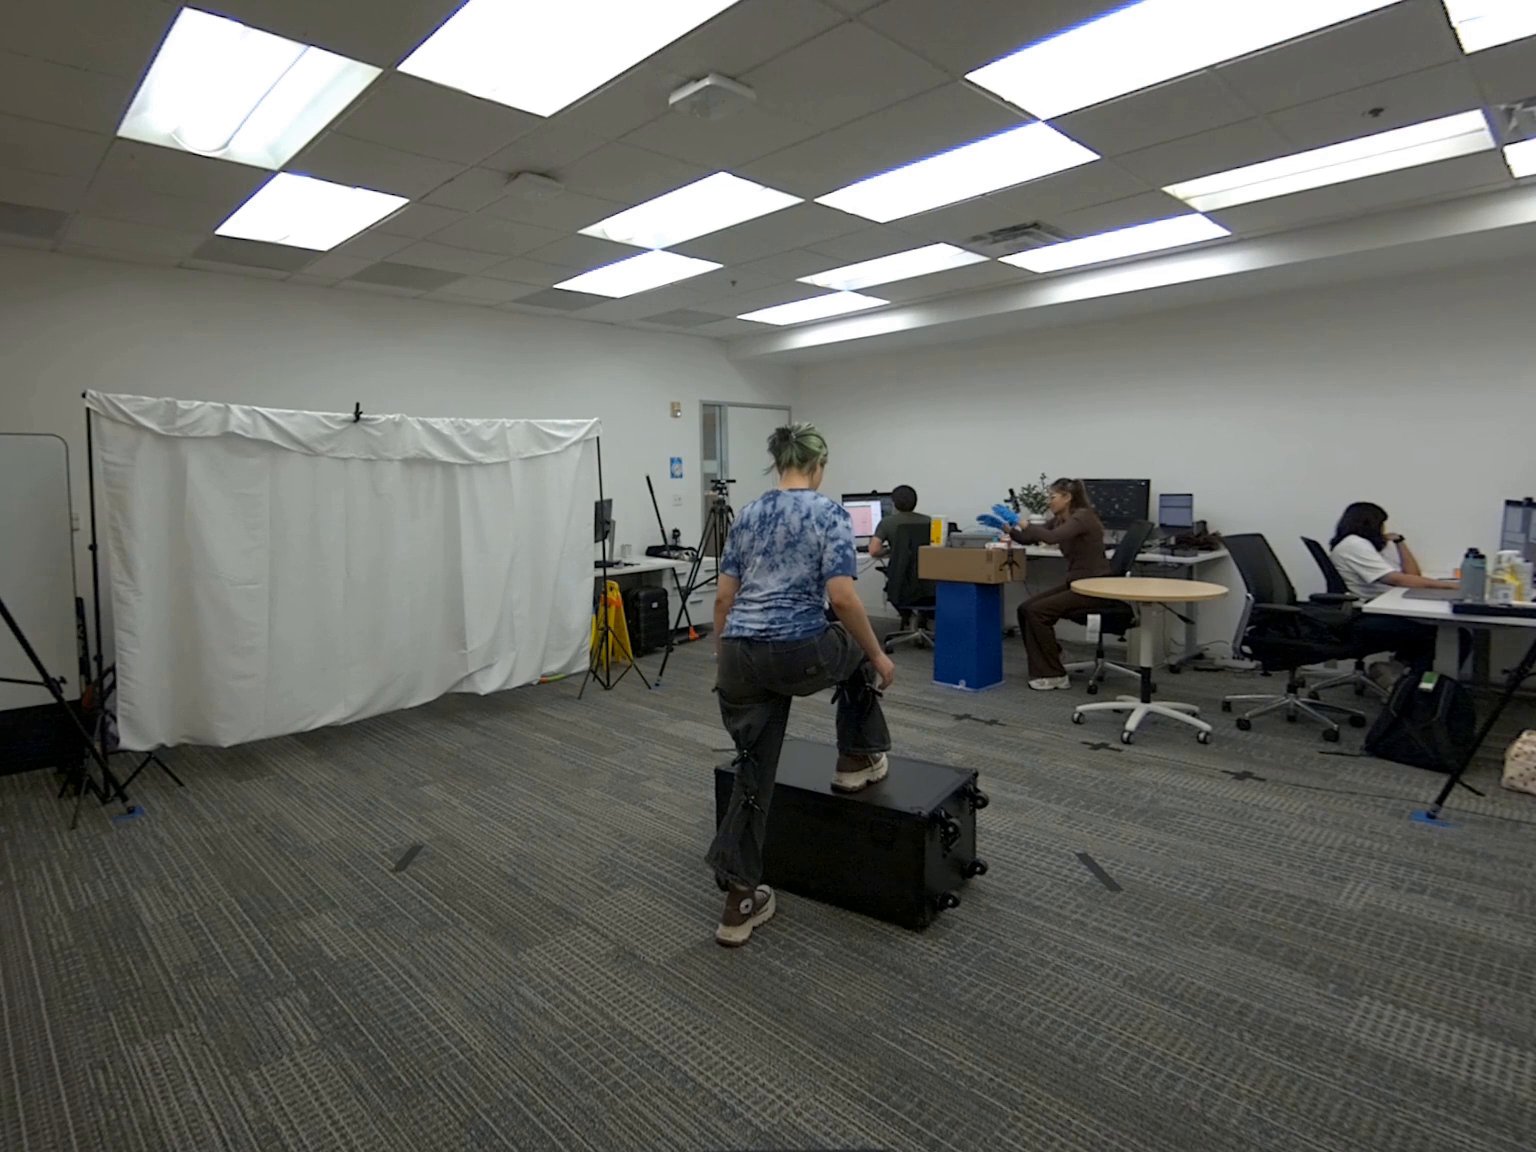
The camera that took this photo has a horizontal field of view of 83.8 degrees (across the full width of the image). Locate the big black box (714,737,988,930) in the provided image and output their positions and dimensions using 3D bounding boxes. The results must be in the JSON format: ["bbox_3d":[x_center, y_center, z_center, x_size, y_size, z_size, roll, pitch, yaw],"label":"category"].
[{"bbox_3d":[0.301,0.868,2.987,0.886,0.395,0.509,3,6,33],"label":"big black box"}]
